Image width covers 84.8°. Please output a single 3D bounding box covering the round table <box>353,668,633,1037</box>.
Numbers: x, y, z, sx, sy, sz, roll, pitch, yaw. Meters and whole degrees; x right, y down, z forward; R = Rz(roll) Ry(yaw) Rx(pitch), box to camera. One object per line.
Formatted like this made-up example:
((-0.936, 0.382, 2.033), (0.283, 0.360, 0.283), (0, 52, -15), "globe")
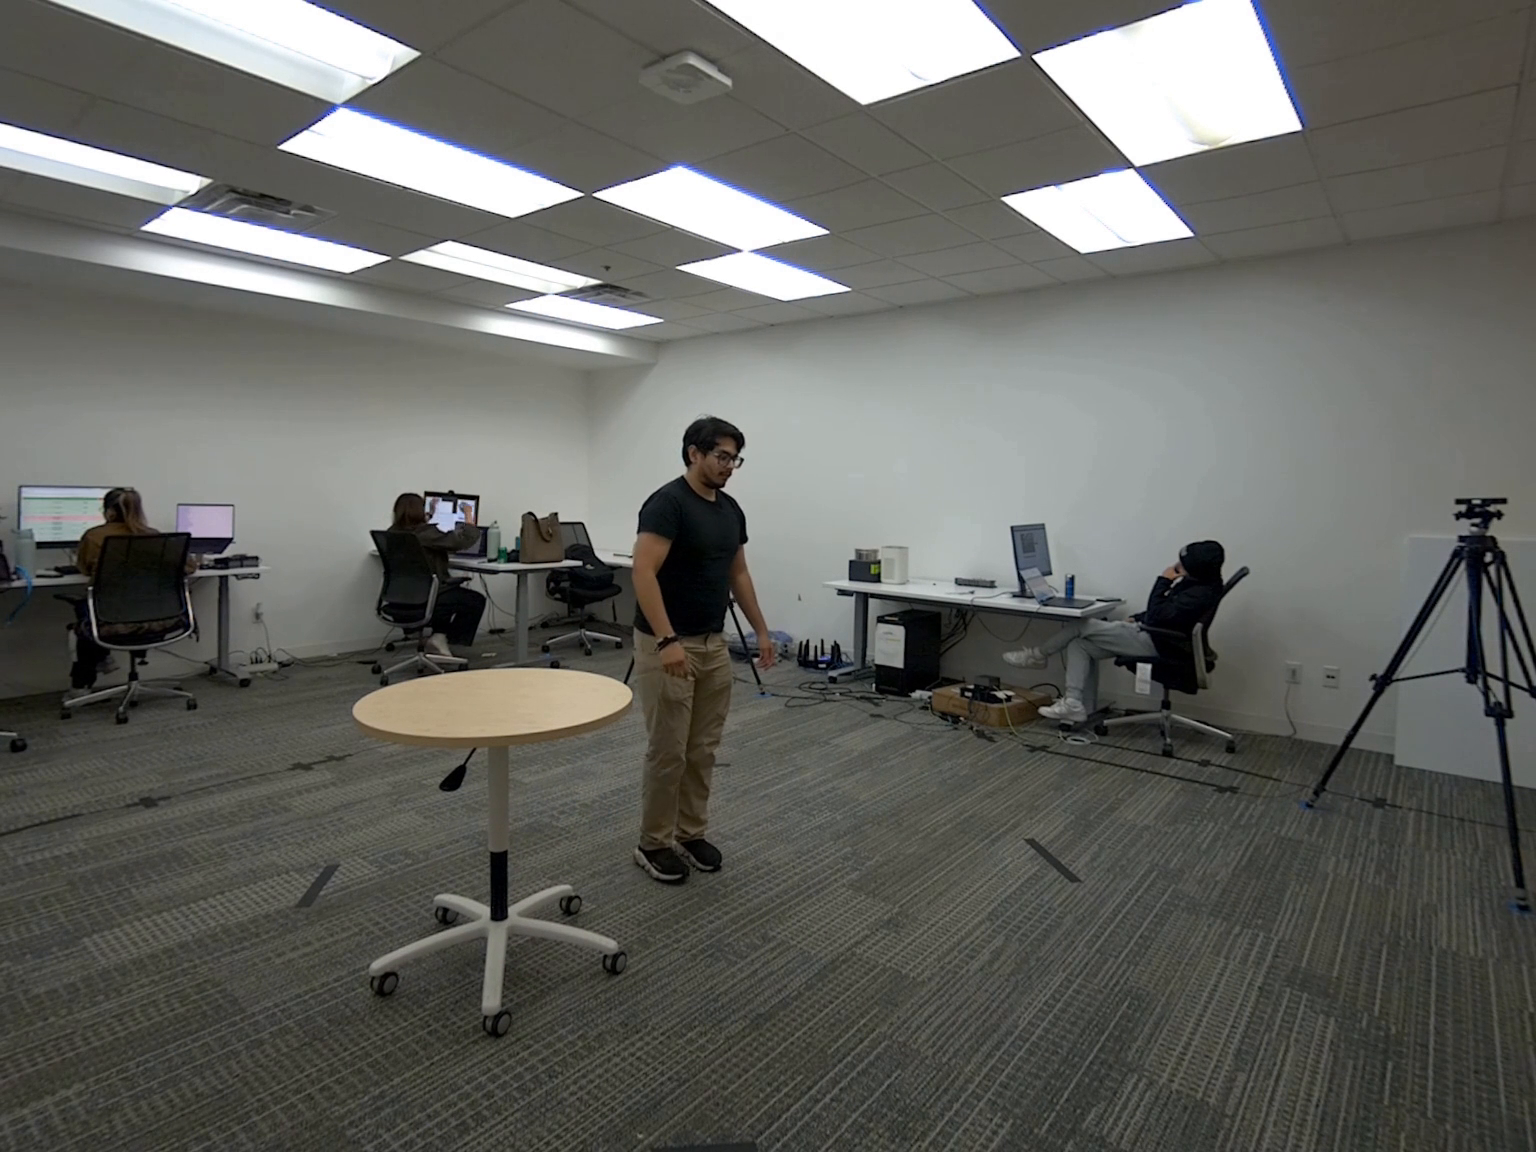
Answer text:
((-0.766, 0.732, 2.443), (0.784, 0.783, 0.789), (0, 5, -2), "round table")
